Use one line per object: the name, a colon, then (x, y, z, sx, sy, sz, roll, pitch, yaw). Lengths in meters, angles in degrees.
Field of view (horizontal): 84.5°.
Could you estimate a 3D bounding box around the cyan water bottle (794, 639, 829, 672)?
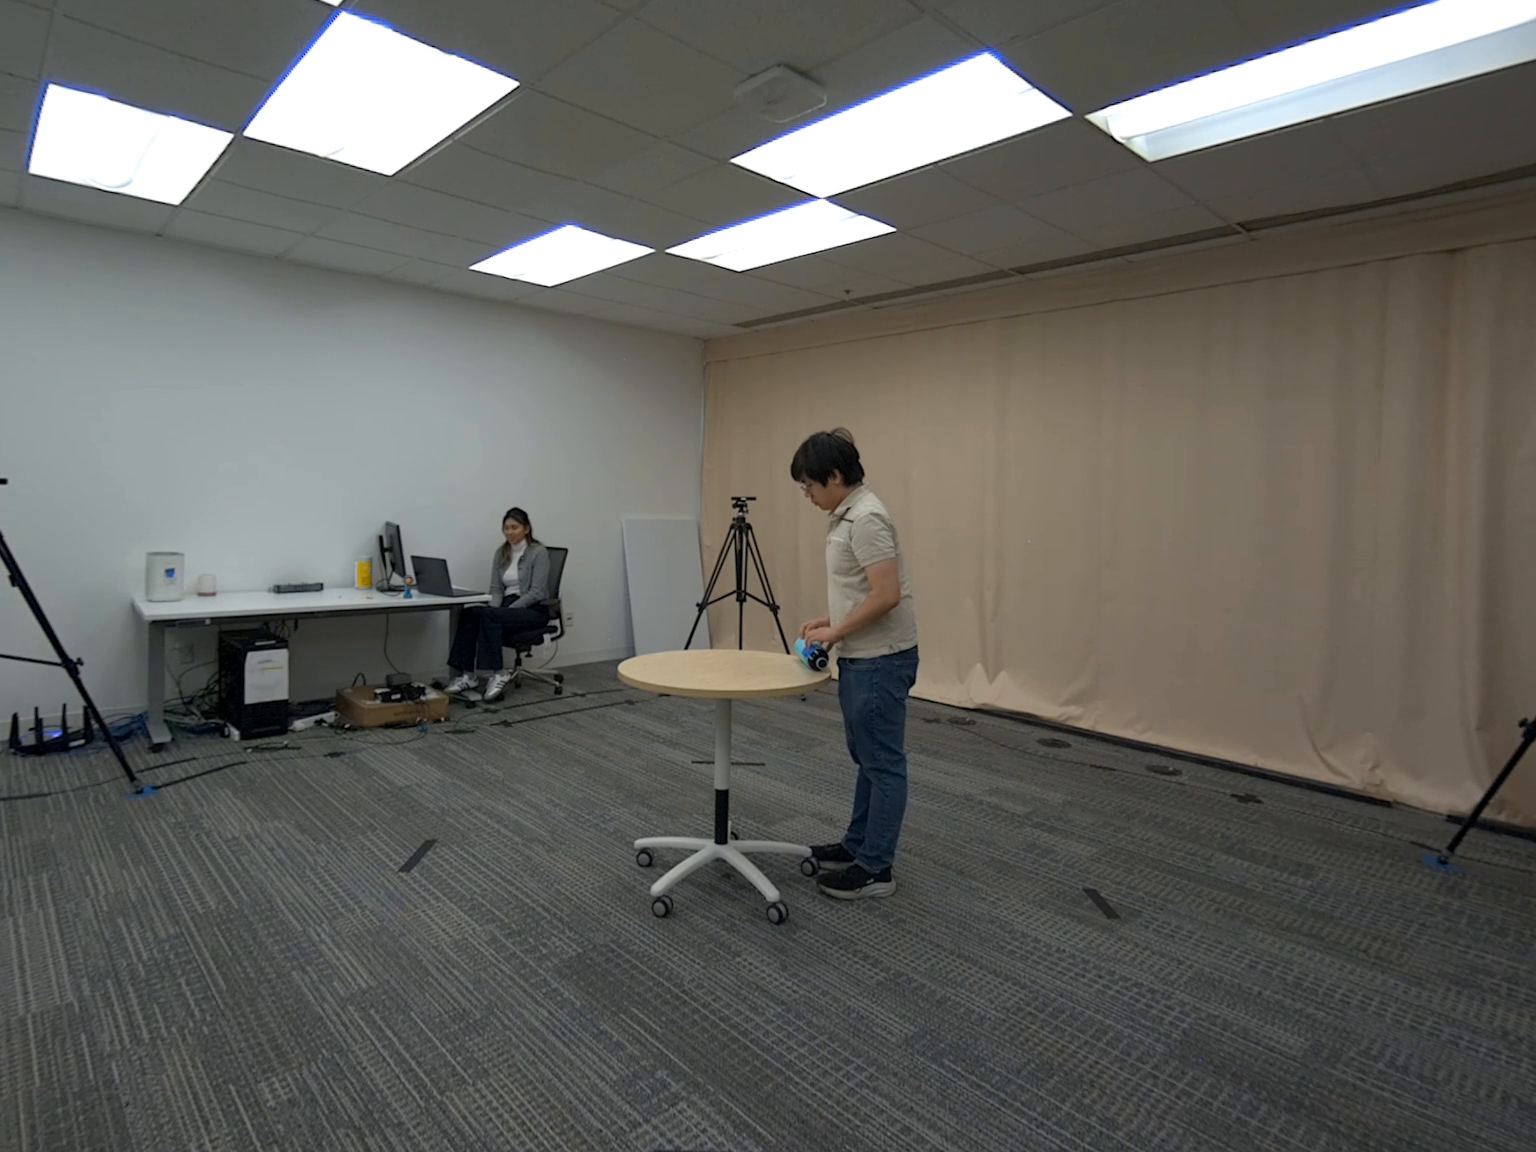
cyan water bottle: (0.154, 0.288, 3.094, 0.092, 0.092, 0.286, 1, 6, -7)
